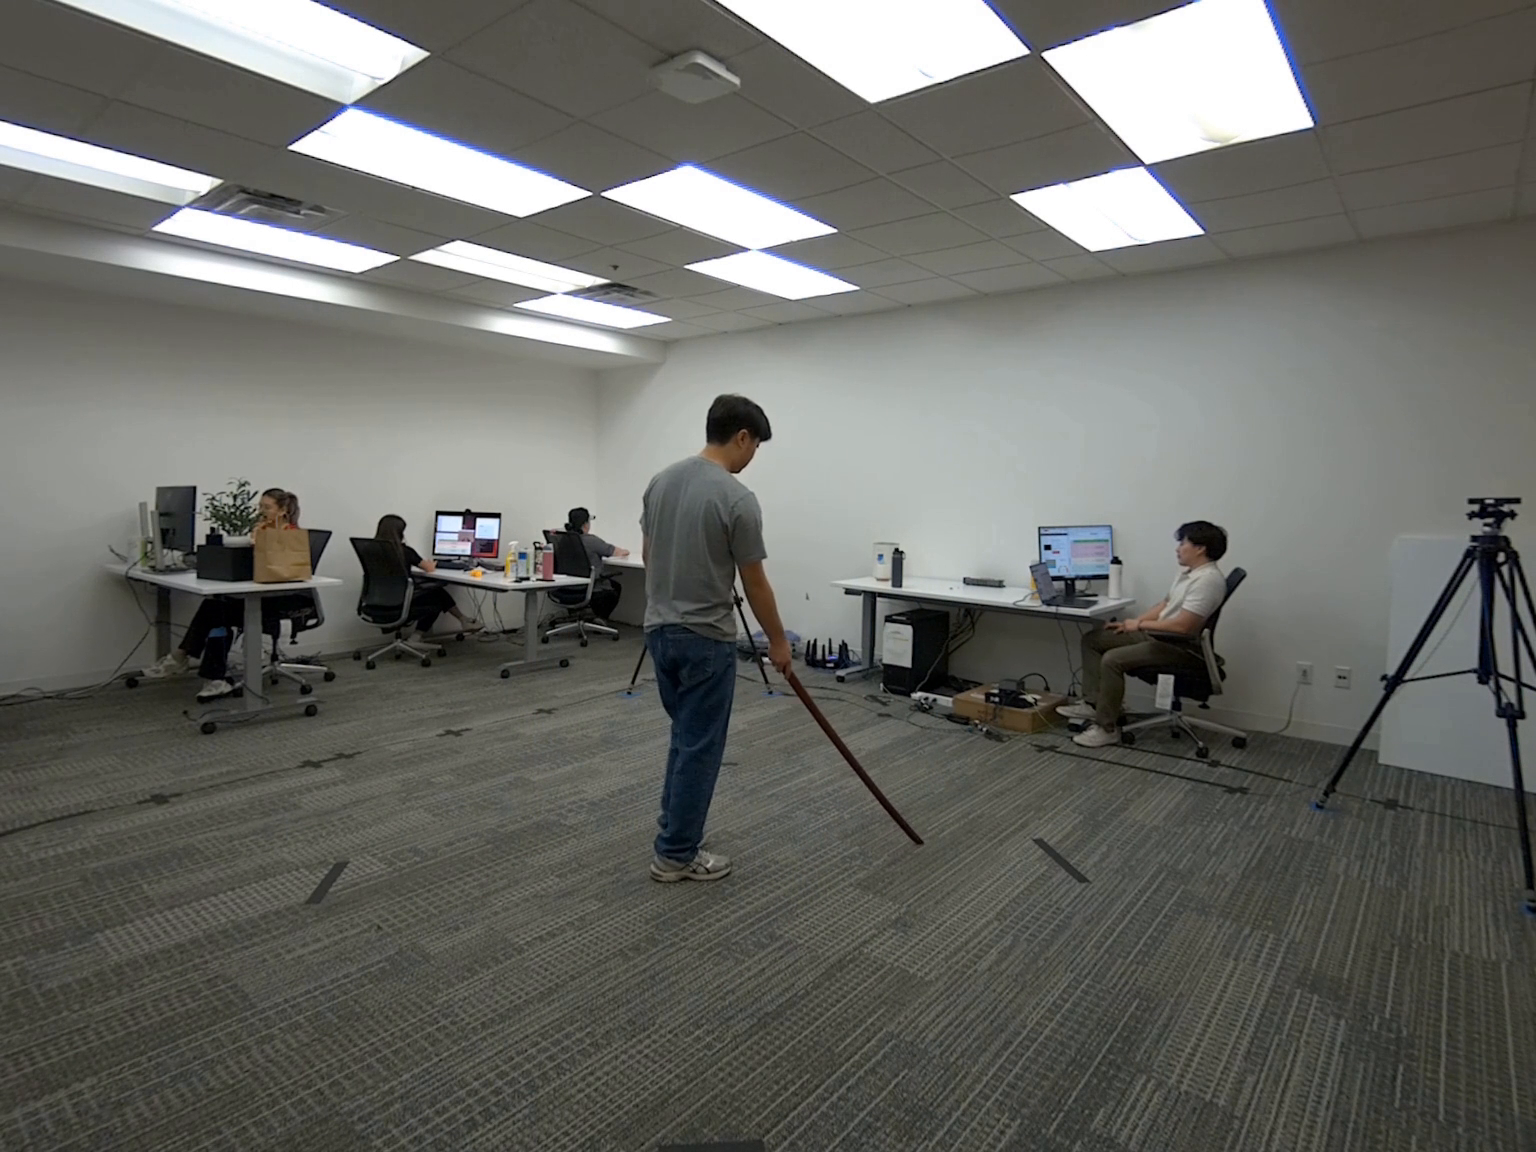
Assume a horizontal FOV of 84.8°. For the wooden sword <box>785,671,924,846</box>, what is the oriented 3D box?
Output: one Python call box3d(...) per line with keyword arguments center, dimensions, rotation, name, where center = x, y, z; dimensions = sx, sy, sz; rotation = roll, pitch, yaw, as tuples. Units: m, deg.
box3d(center=(0.301, 0.679, 3.252), dimensions=(0.051, 1.003, 0.024), rotation=(-39, 16, -14), name="wooden sword")
